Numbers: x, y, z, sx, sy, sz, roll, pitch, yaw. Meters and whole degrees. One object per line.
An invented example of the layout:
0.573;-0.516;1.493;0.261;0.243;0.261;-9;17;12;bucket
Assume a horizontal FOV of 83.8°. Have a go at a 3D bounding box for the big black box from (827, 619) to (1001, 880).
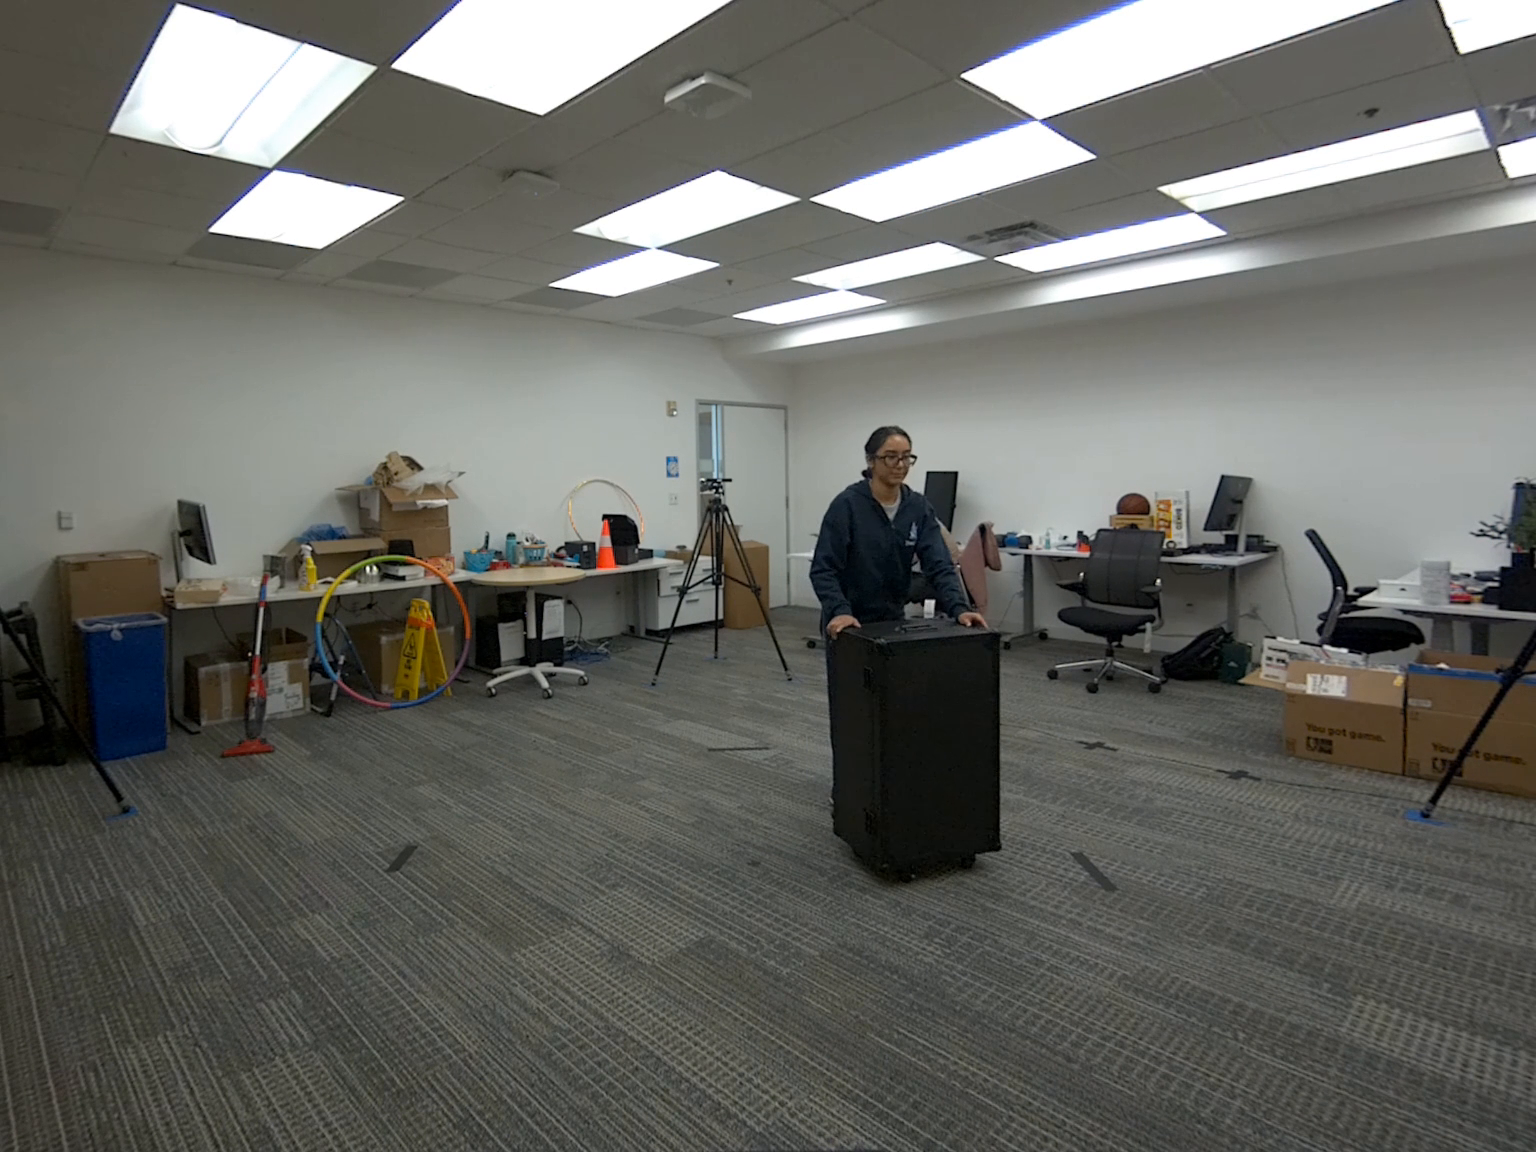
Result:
0.519;0.612;3.087;0.512;0.858;0.405;-2;4;-21;big black box
